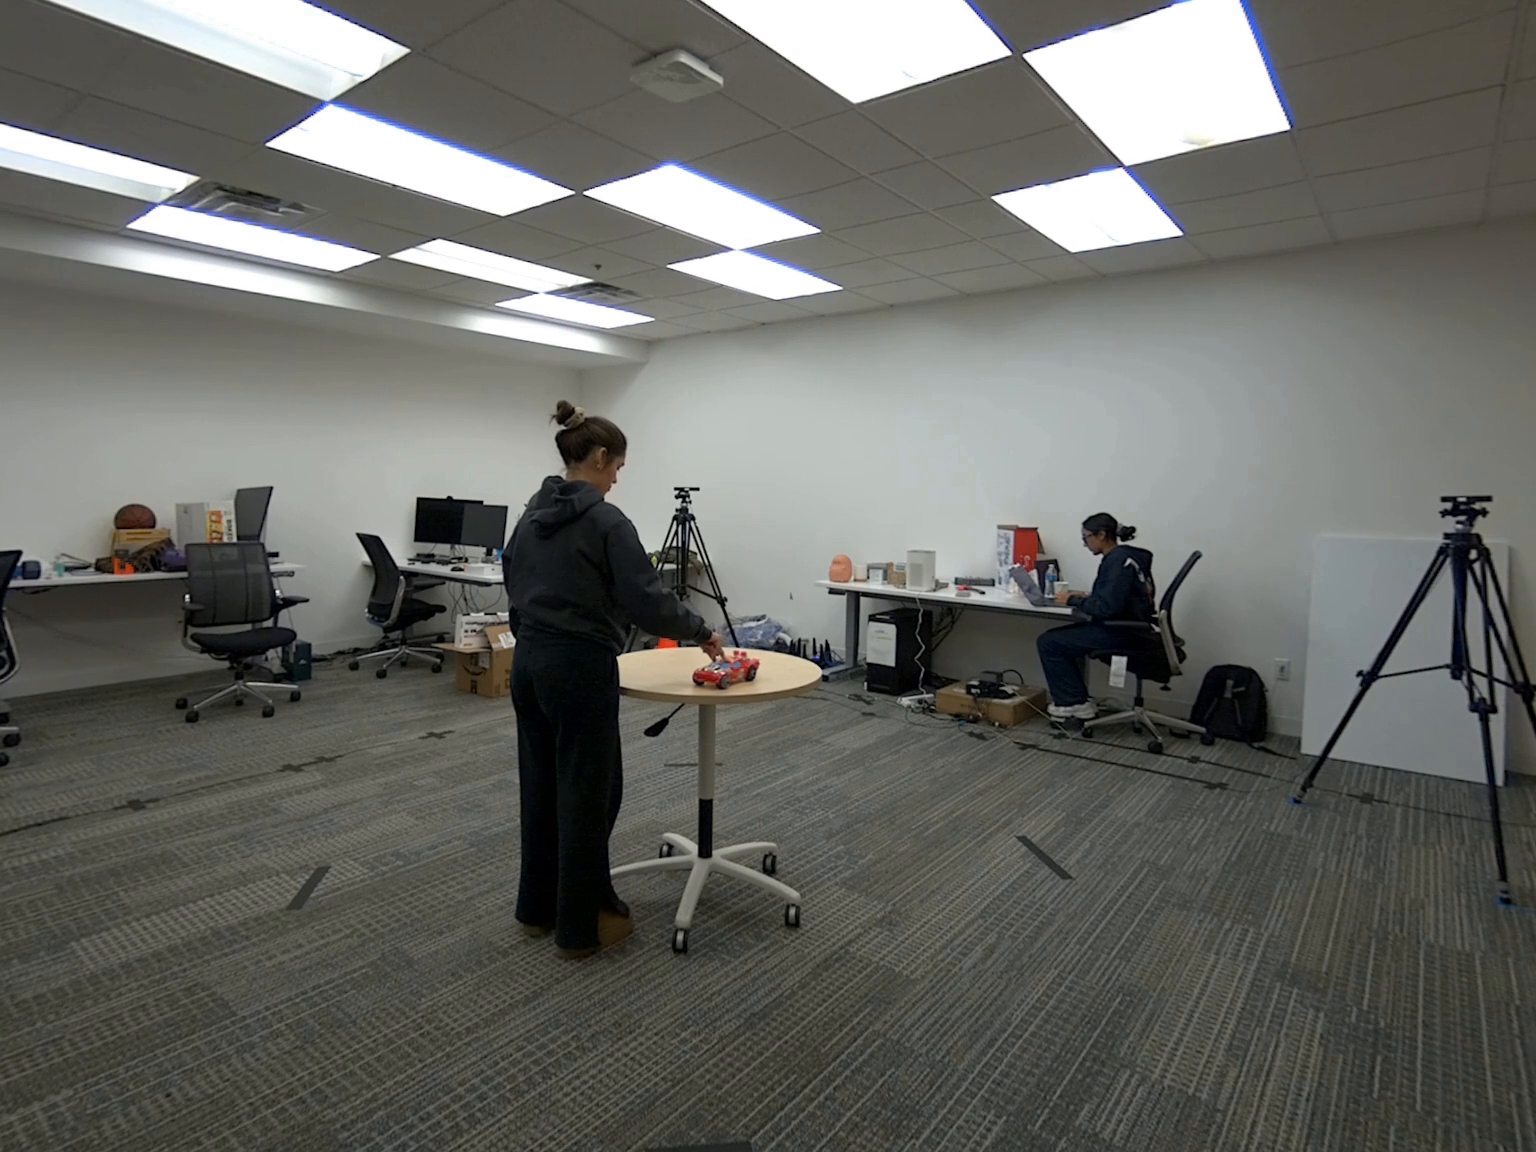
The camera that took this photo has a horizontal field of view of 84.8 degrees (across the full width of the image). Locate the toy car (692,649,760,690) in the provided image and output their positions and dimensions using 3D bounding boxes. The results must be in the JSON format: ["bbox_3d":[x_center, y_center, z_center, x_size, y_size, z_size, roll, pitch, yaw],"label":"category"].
[{"bbox_3d":[-0.122,0.301,2.664,0.134,0.082,0.250,4,18,34],"label":"toy car"}]
